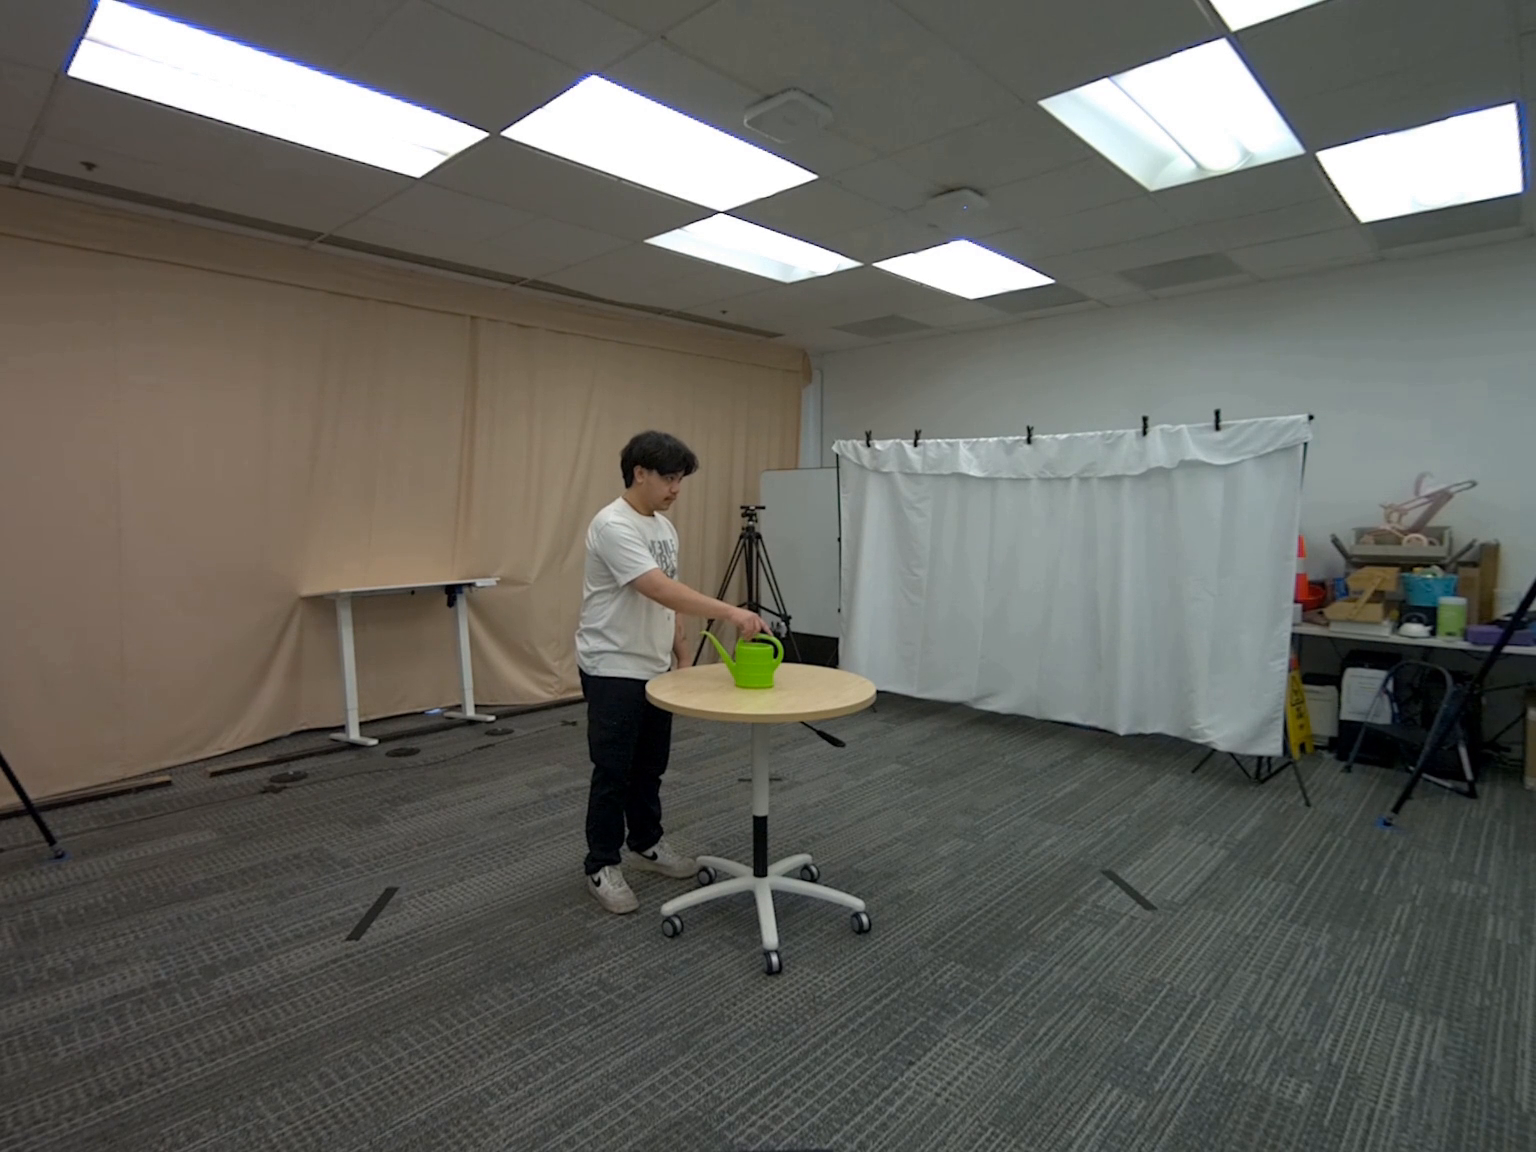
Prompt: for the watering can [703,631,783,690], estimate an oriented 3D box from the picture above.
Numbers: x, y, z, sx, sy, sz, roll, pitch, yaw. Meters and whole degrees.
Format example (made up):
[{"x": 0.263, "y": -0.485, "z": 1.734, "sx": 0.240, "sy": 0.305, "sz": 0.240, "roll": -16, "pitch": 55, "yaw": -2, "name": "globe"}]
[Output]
[{"x": -0.077, "y": 0.283, "z": 2.815, "sx": 0.285, "sy": 0.176, "sz": 0.096, "roll": 4, "pitch": 4, "yaw": 23, "name": "watering can"}]
